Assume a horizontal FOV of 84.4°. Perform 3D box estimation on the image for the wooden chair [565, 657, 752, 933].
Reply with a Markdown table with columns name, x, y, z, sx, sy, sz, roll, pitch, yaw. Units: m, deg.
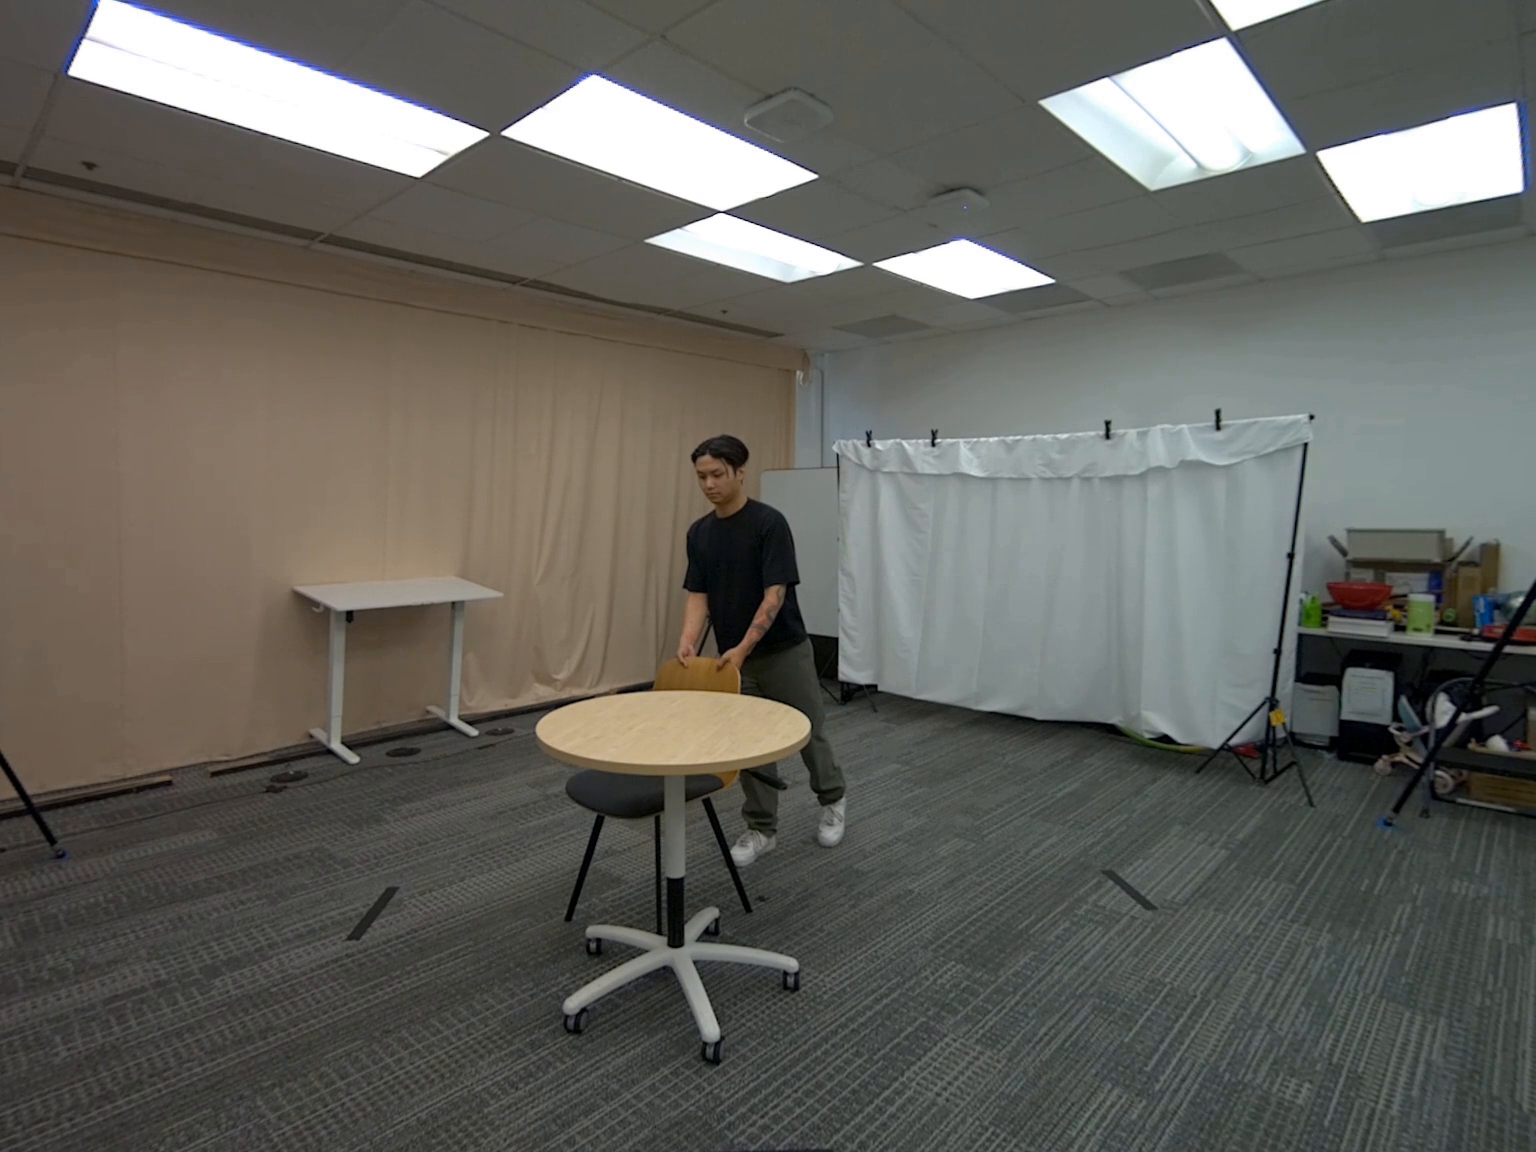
| name | x | y | z | sx | sy | sz | roll | pitch | yaw |
| --- | --- | --- | --- | --- | --- | --- | --- | --- | --- |
| wooden chair | -0.372 | 0.729 | 2.822 | 0.493 | 0.878 | 0.506 | 2 | -1 | 39 |
